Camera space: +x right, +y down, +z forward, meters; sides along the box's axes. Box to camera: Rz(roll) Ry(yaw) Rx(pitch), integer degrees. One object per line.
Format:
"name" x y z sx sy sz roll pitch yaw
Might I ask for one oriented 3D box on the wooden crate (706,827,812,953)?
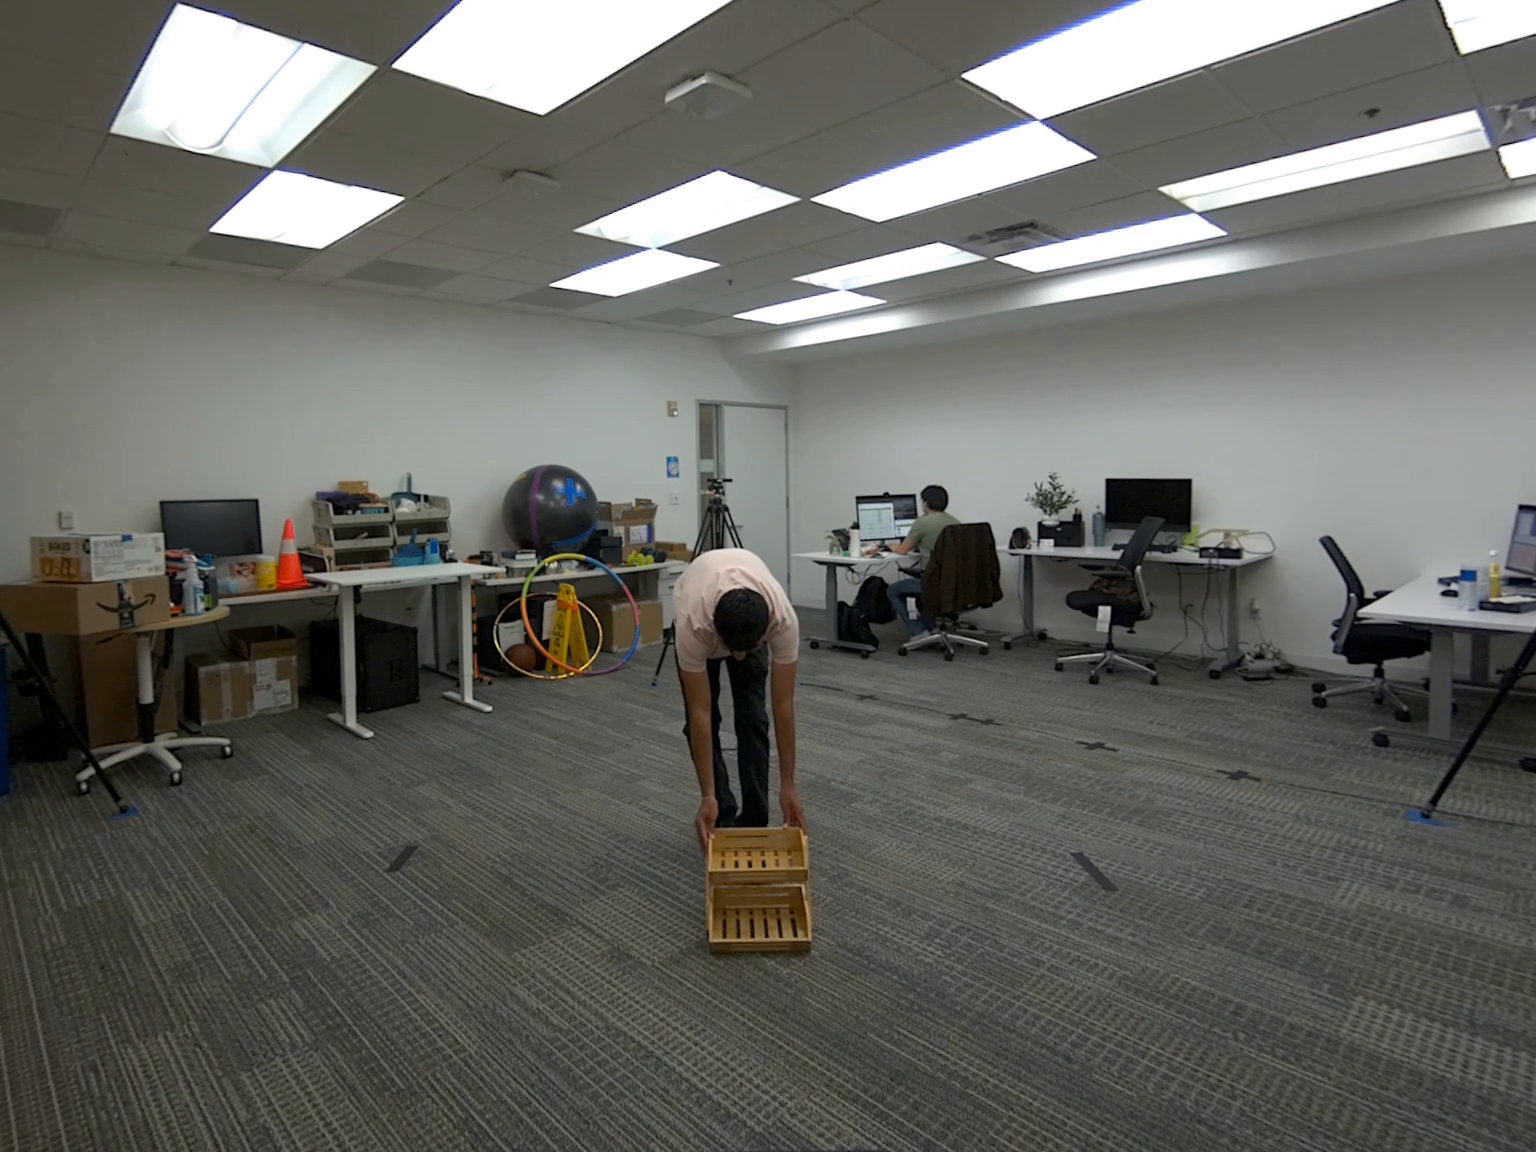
"wooden crate" -0.022 0.966 2.637 0.324 0.272 0.304 -1 5 -2
